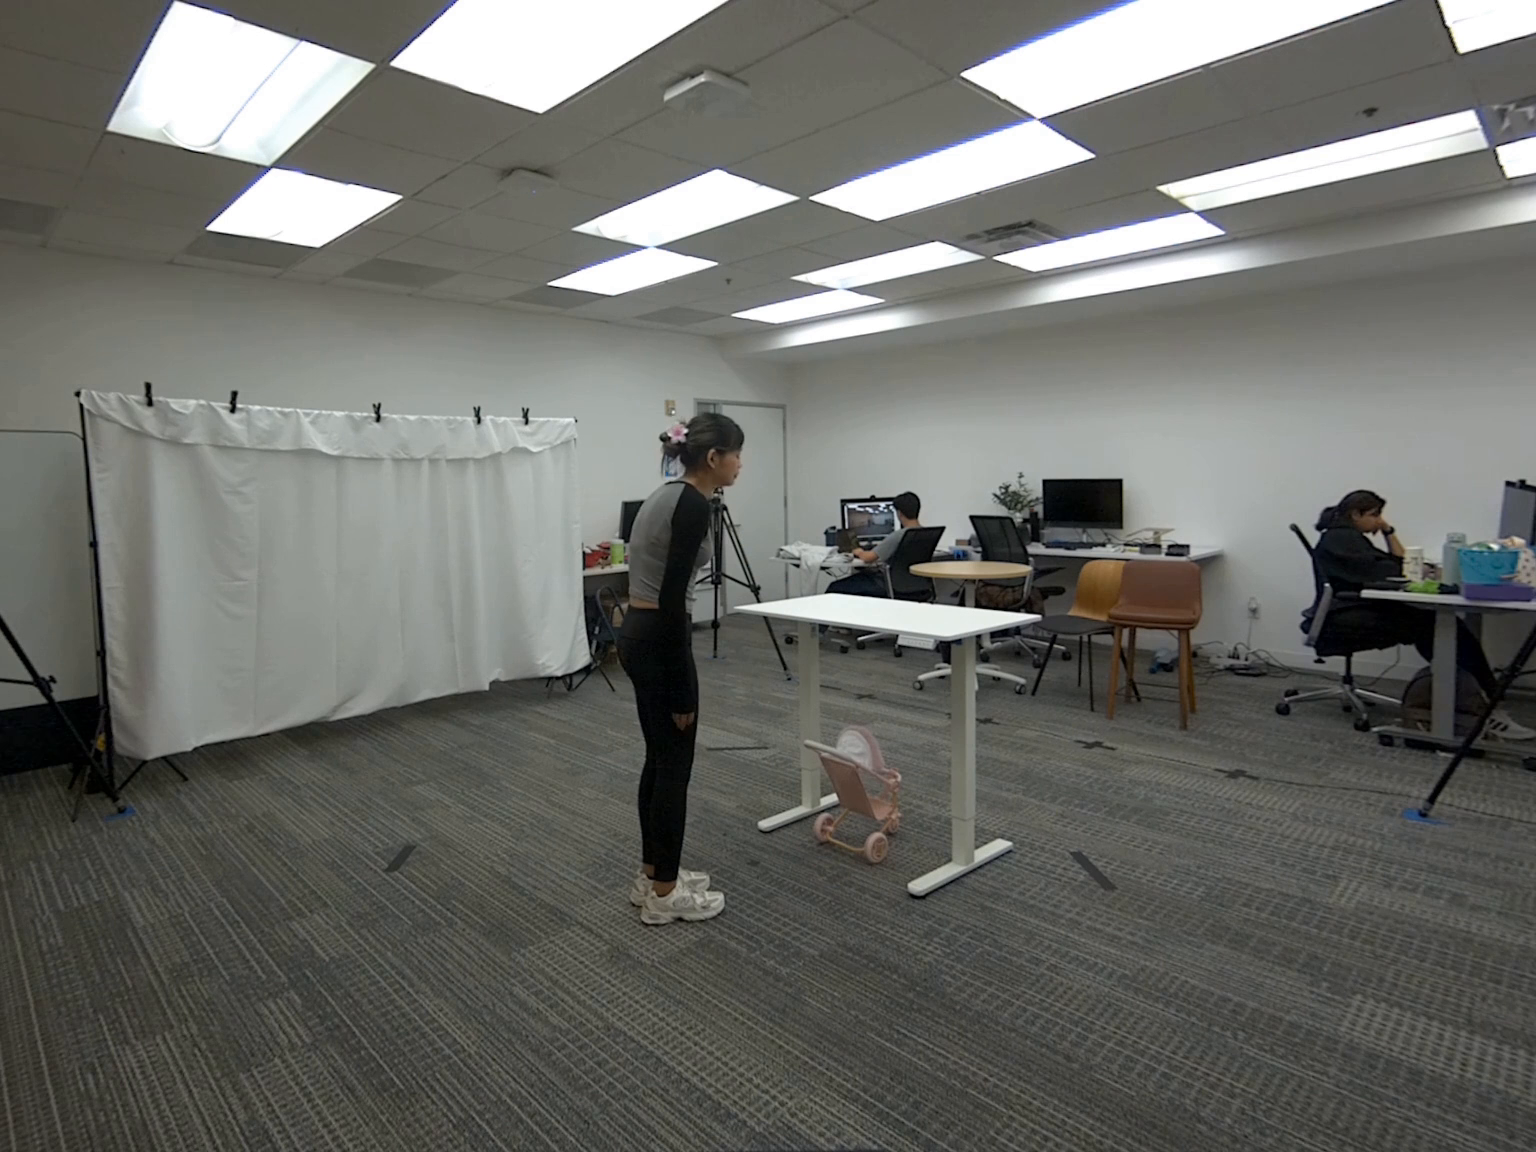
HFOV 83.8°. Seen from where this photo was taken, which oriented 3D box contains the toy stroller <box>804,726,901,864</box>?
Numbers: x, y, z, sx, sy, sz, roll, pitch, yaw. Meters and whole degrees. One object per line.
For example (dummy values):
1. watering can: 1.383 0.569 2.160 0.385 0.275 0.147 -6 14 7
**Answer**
1. toy stroller: 0.353 0.798 3.210 0.336 0.527 0.290 -22 16 -35
